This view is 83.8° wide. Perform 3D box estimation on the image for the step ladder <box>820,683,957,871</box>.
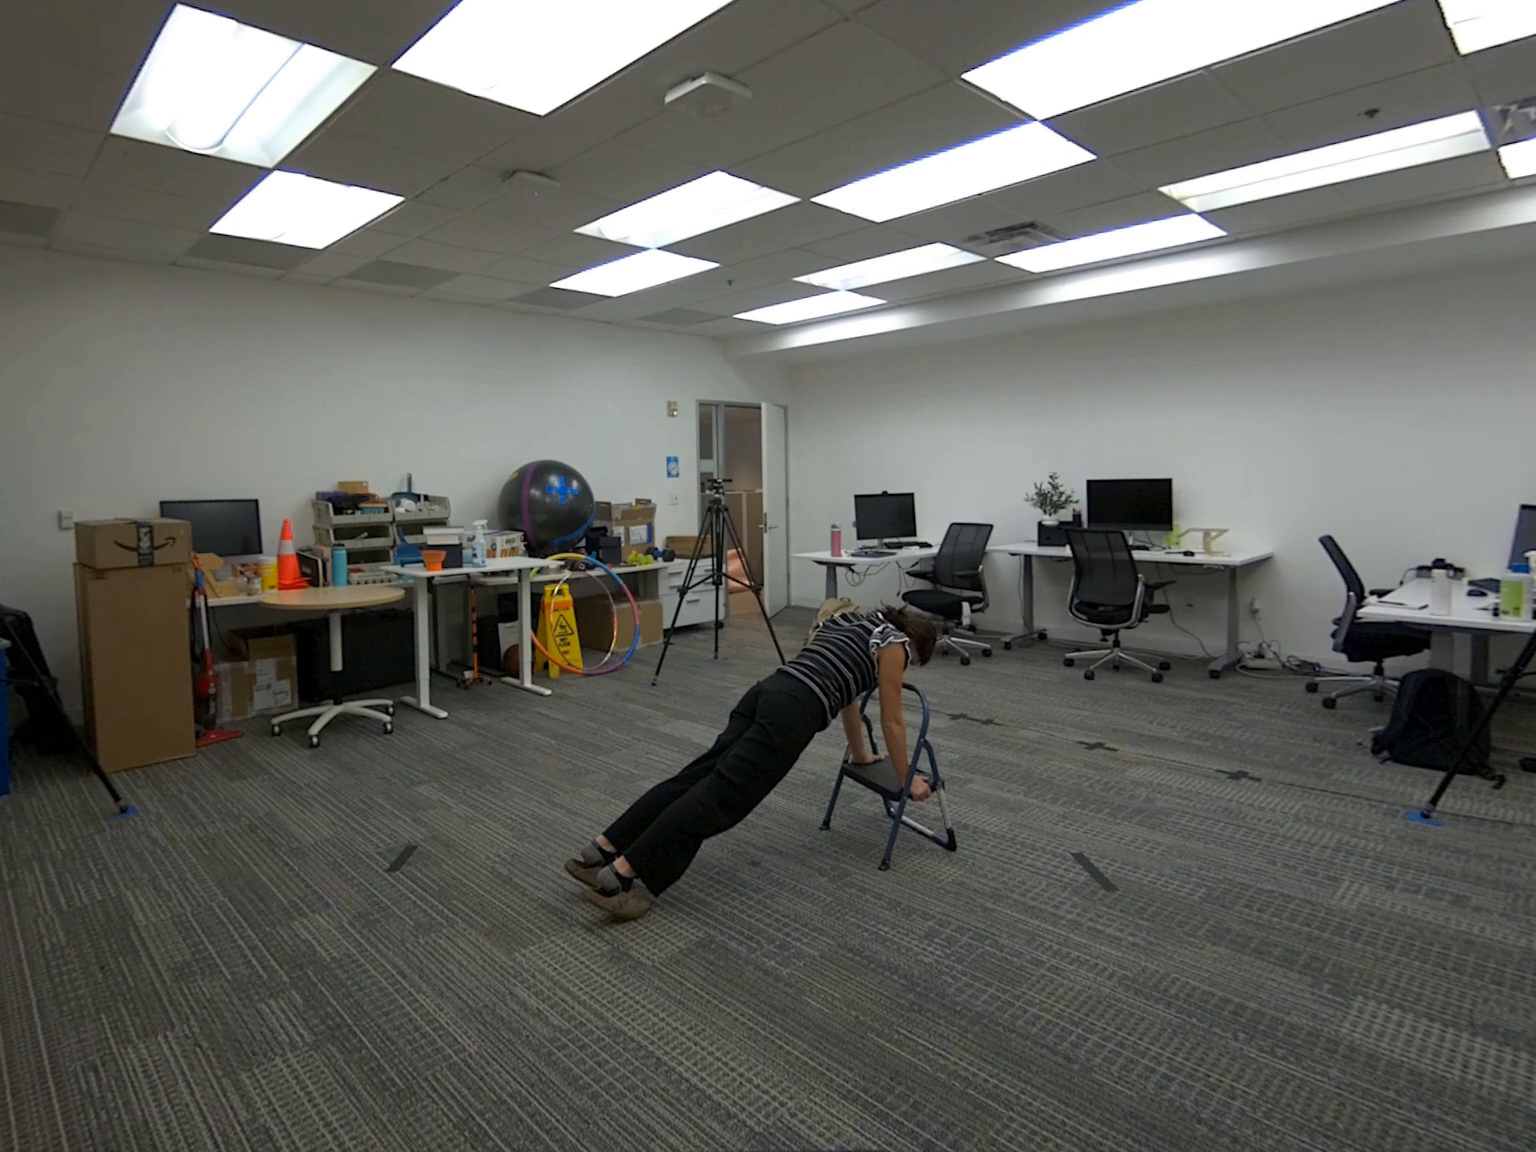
[{"bbox_3d":[0.456,0.716,3.280,0.341,0.604,0.442,-2,5,-28],"label":"step ladder"}]
